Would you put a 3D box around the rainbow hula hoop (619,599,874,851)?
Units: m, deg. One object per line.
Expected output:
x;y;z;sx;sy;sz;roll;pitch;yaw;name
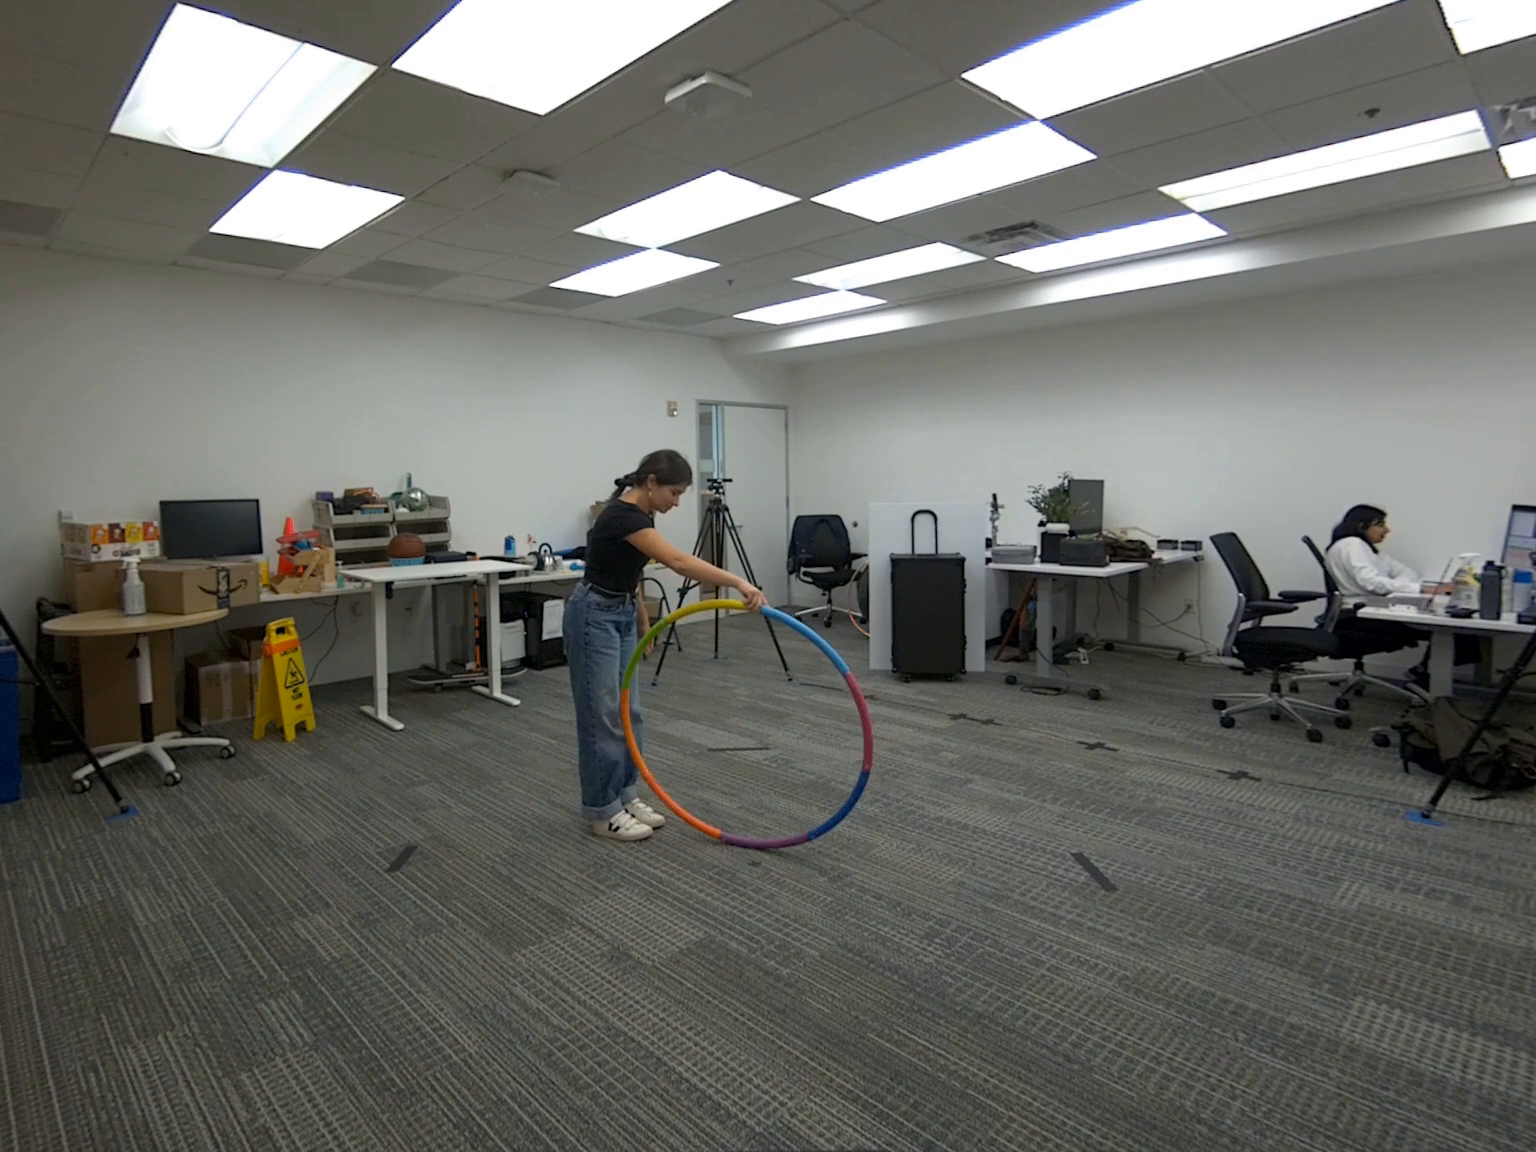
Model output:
-0.096;0.563;3.156;1.000;0.968;0.035;1;12;23;rainbow hula hoop
